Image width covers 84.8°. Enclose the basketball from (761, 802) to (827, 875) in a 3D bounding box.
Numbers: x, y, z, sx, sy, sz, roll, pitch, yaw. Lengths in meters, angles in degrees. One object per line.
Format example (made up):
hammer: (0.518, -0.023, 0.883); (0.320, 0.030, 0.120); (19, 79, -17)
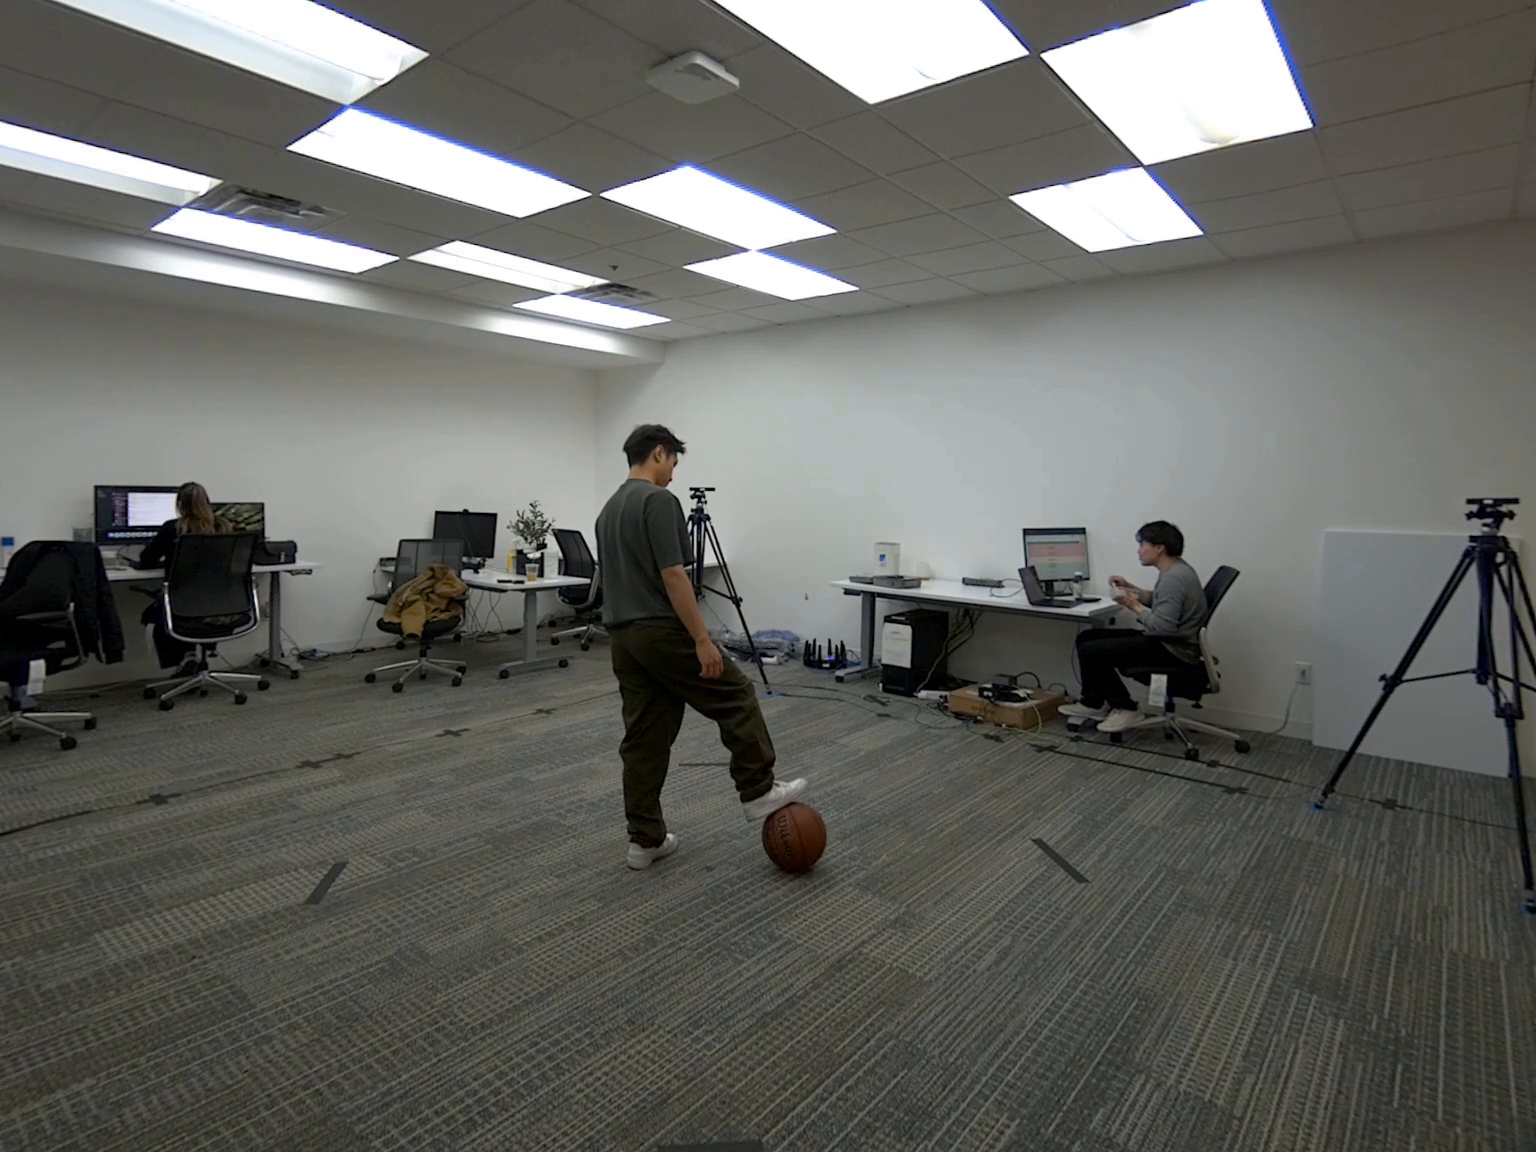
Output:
basketball: (0.088, 0.952, 3.124); (0.235, 0.235, 0.237); (1, 4, -2)
